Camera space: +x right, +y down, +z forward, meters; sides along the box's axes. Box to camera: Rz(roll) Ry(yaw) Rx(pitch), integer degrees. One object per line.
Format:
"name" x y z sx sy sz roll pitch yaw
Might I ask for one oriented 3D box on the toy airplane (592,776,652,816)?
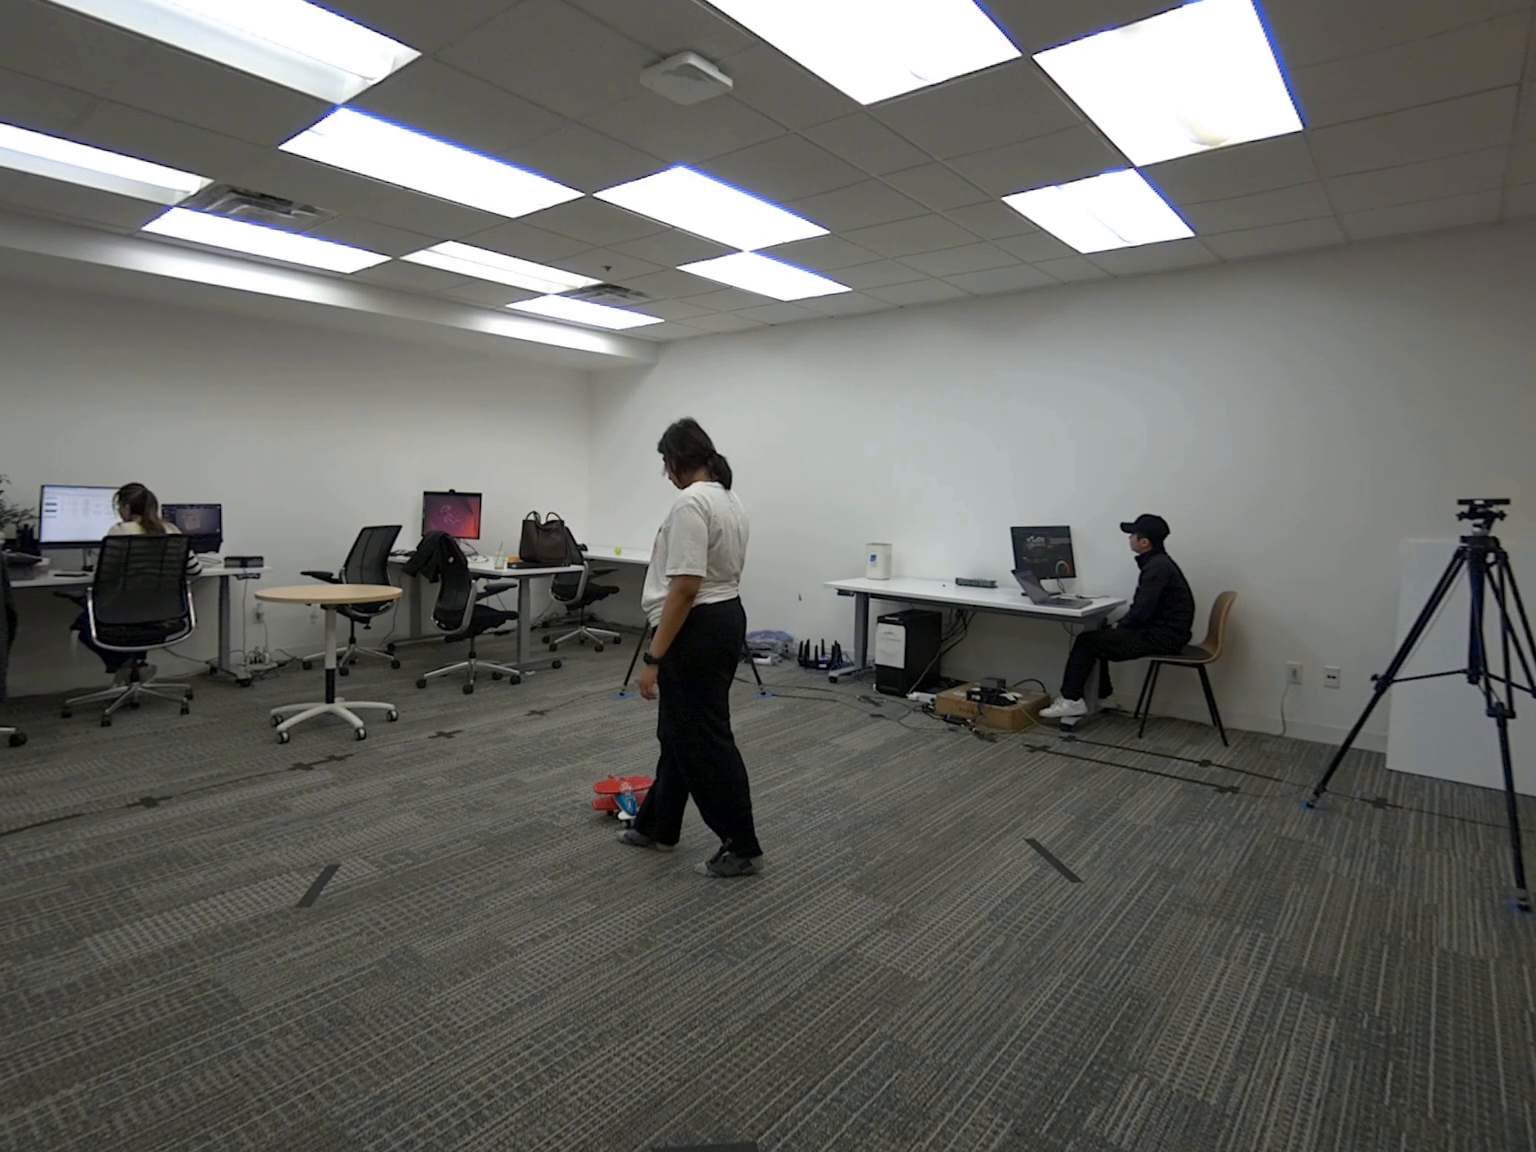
"toy airplane" -0.600 0.945 3.578 0.268 0.156 0.244 4 6 39
